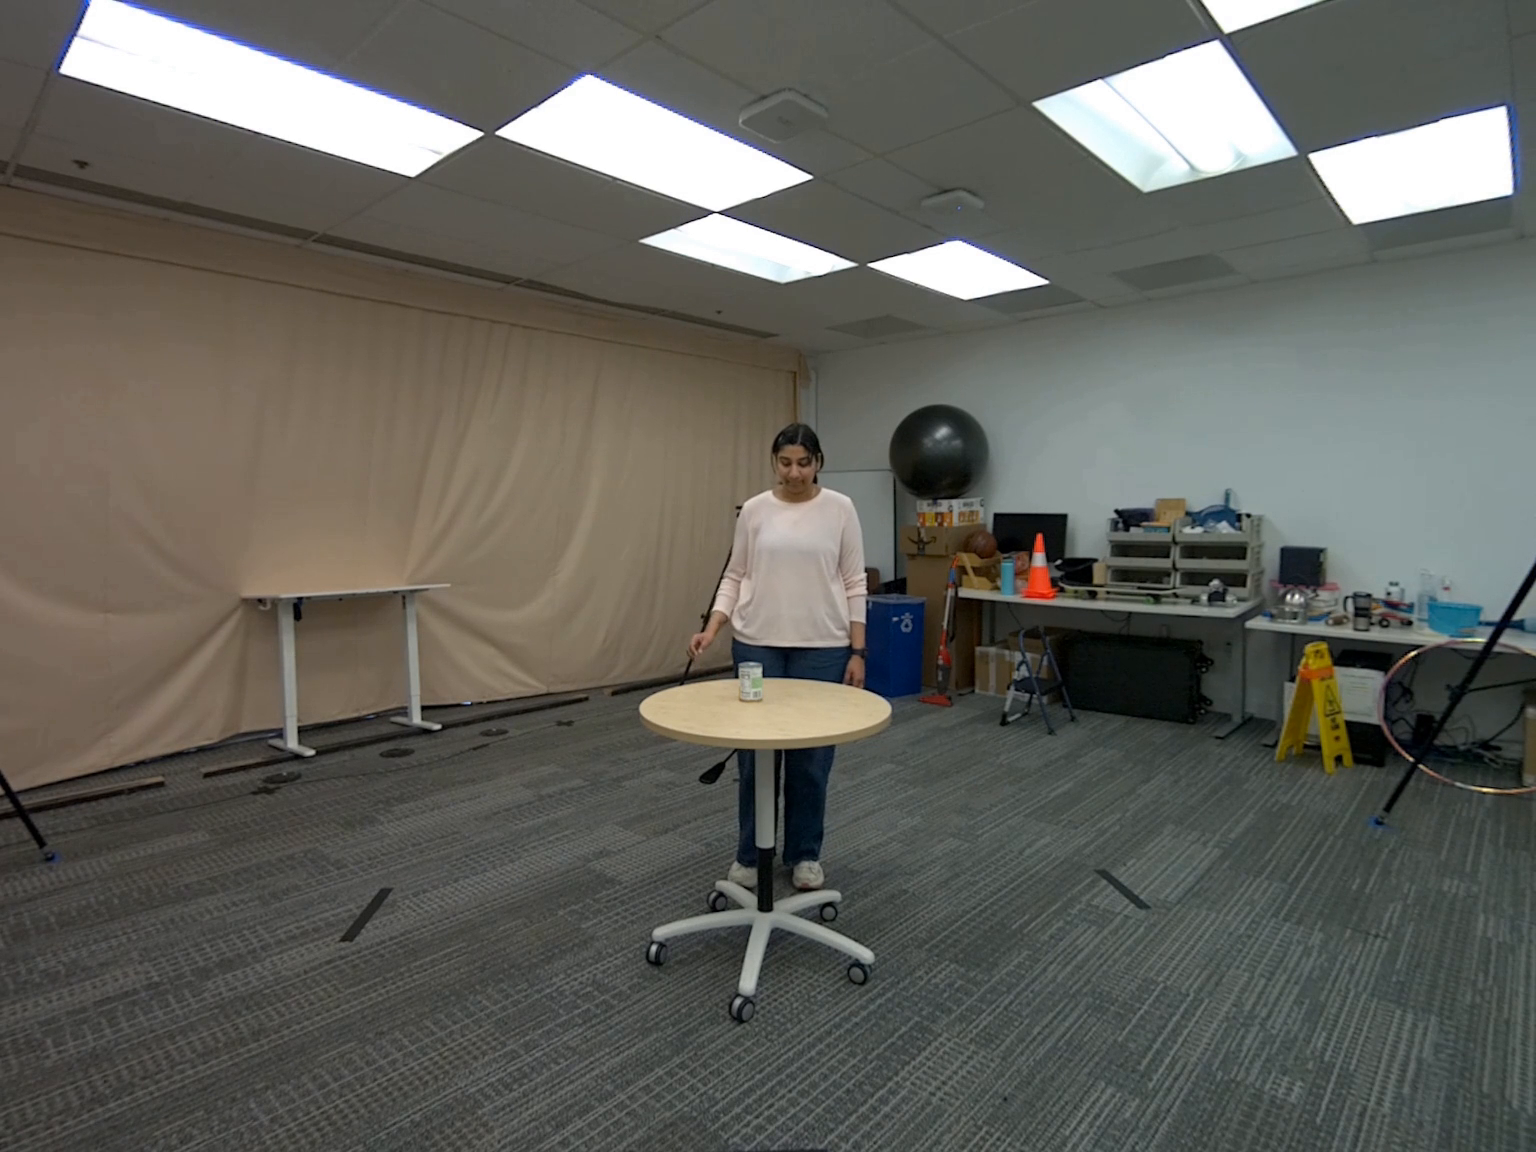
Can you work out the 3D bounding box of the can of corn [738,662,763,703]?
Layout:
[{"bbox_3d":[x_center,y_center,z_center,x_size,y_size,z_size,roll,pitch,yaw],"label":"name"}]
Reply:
[{"bbox_3d":[-0.054,0.332,2.641,0.074,0.111,0.074,-2,3,-2],"label":"can of corn"}]
